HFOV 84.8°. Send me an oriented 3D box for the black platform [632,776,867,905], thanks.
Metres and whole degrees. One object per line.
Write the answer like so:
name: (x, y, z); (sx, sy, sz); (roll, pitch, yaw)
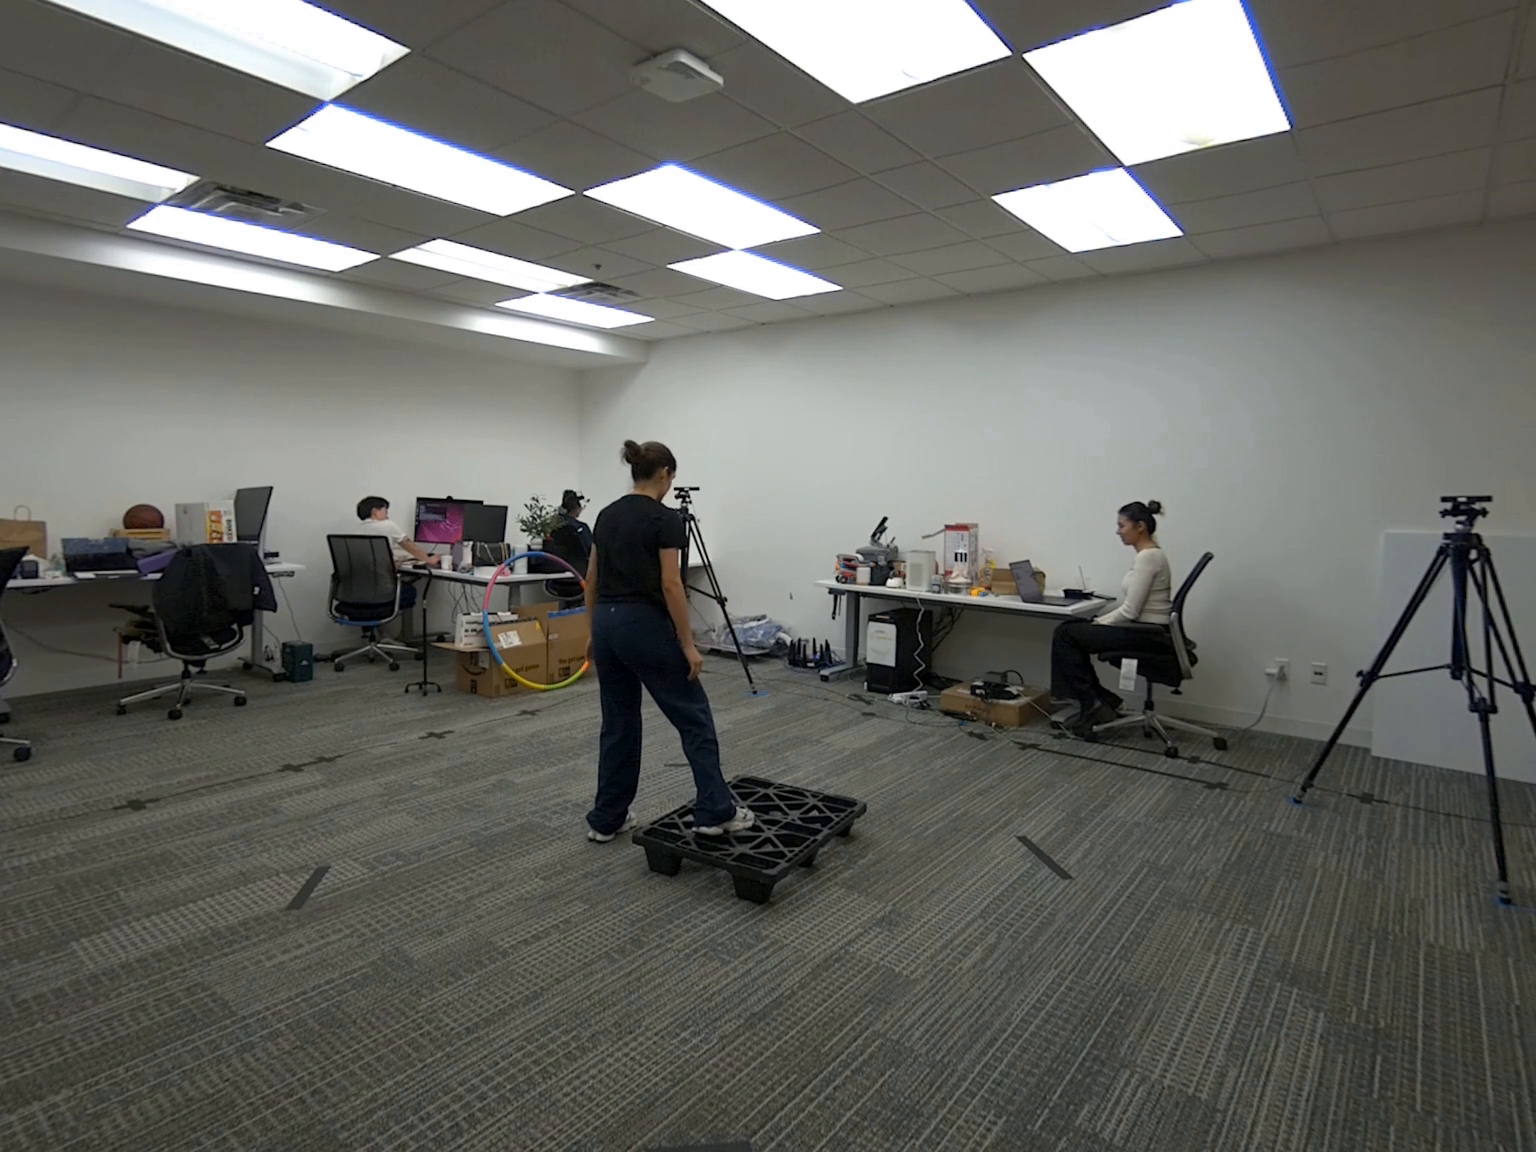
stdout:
black platform: (-0.038, 0.985, 3.275); (0.623, 0.143, 0.784); (3, 6, 31)
